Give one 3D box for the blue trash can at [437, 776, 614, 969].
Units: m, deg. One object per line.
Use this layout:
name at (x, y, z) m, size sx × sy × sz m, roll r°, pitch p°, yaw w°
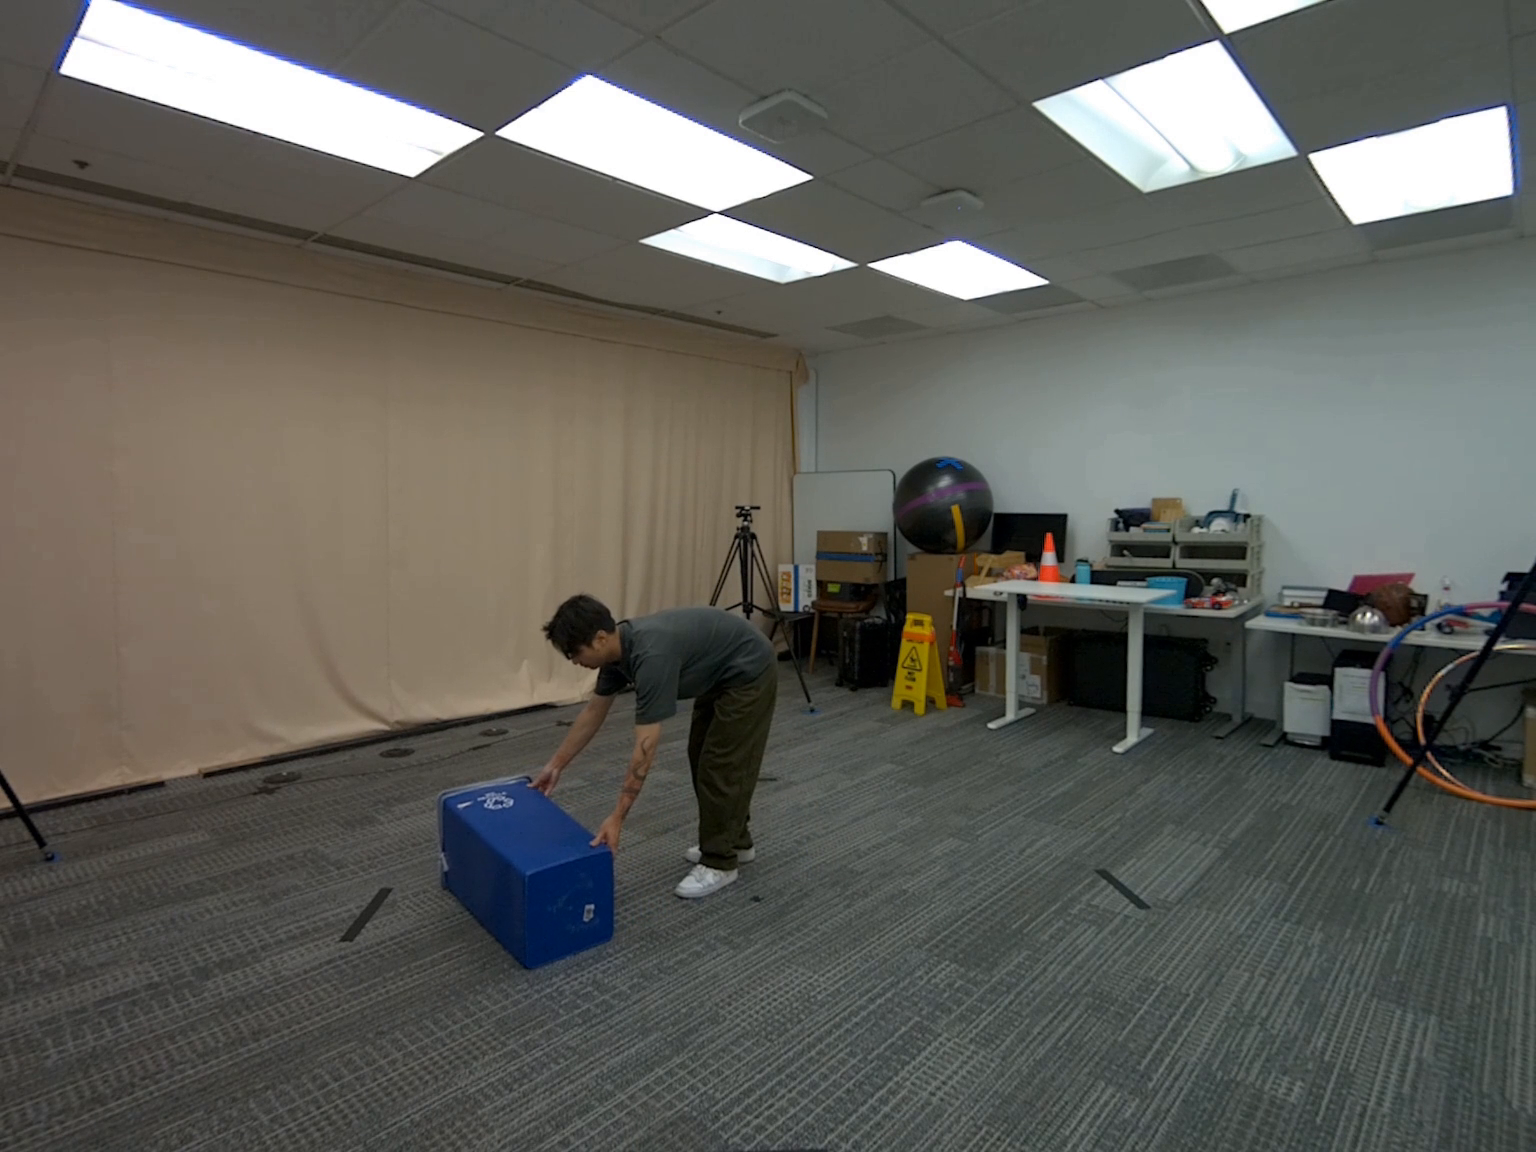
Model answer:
blue trash can at (-0.836, 0.987, 2.883) m, size 0.367 × 0.373 × 0.737 m, roll -3°, pitch 7°, yaw -39°
